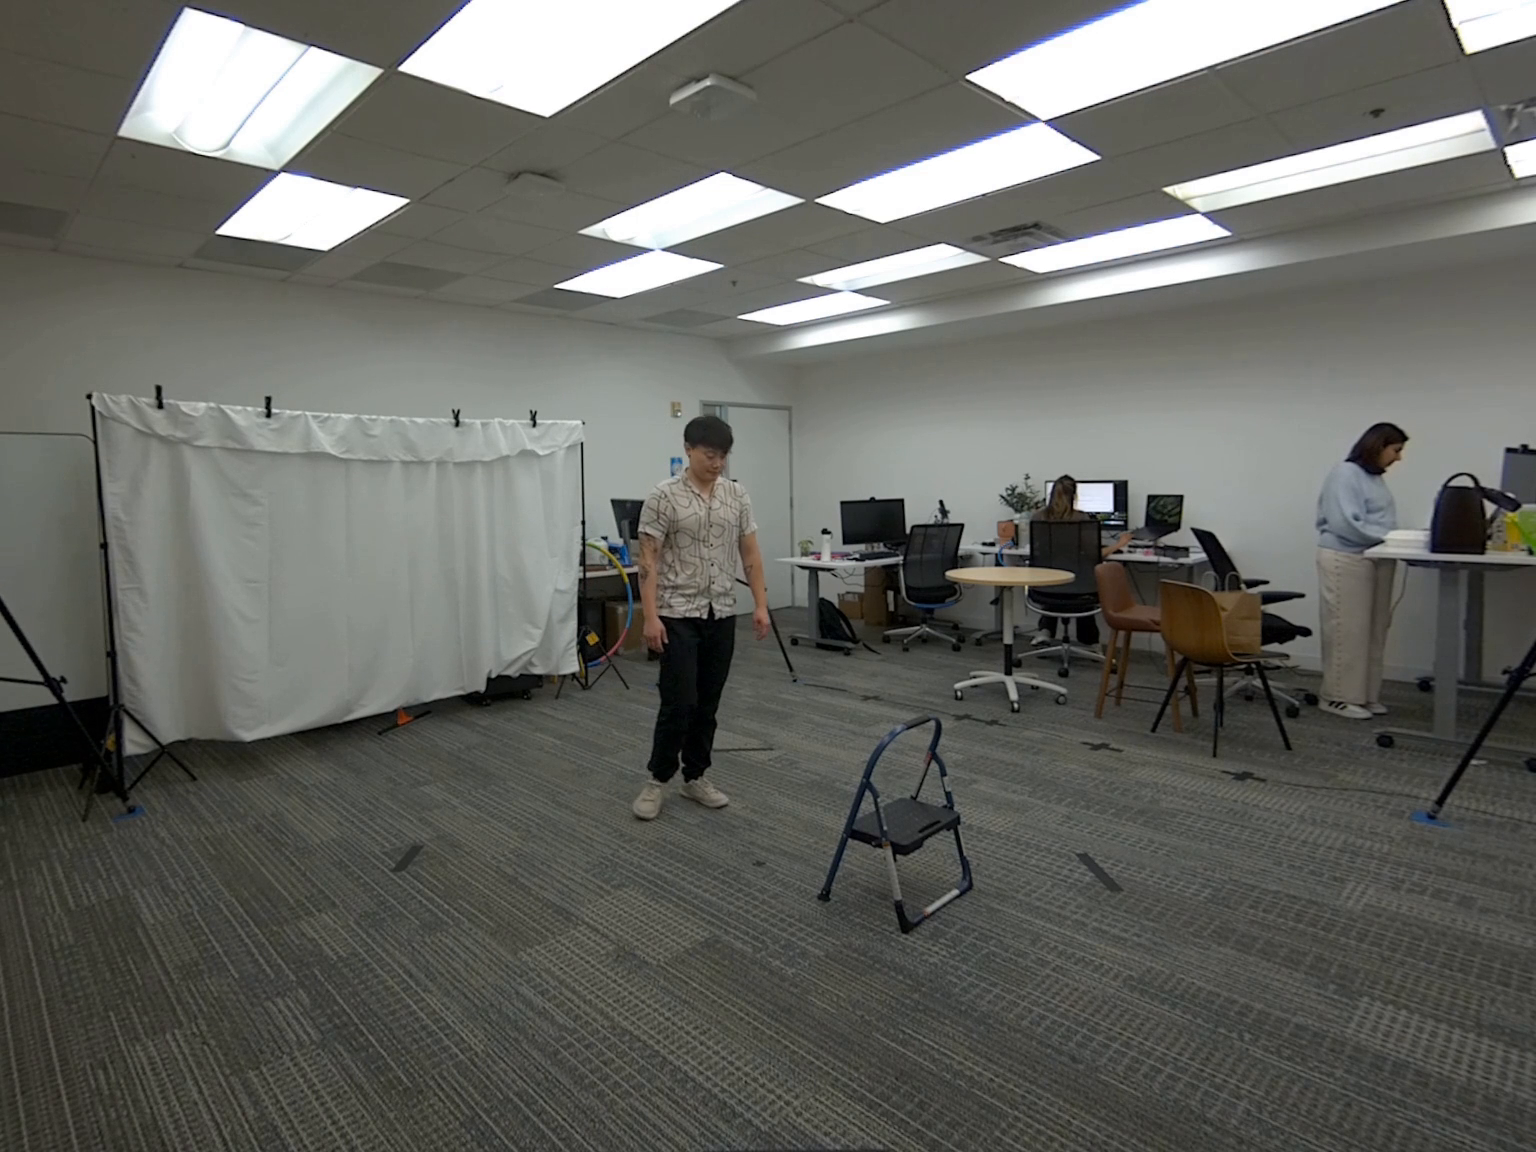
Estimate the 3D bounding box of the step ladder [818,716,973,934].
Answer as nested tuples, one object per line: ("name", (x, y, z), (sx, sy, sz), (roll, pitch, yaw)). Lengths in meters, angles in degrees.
("step ladder", (0.431, 0.765, 2.853), (0.360, 0.604, 0.419), (3, 6, 42))
